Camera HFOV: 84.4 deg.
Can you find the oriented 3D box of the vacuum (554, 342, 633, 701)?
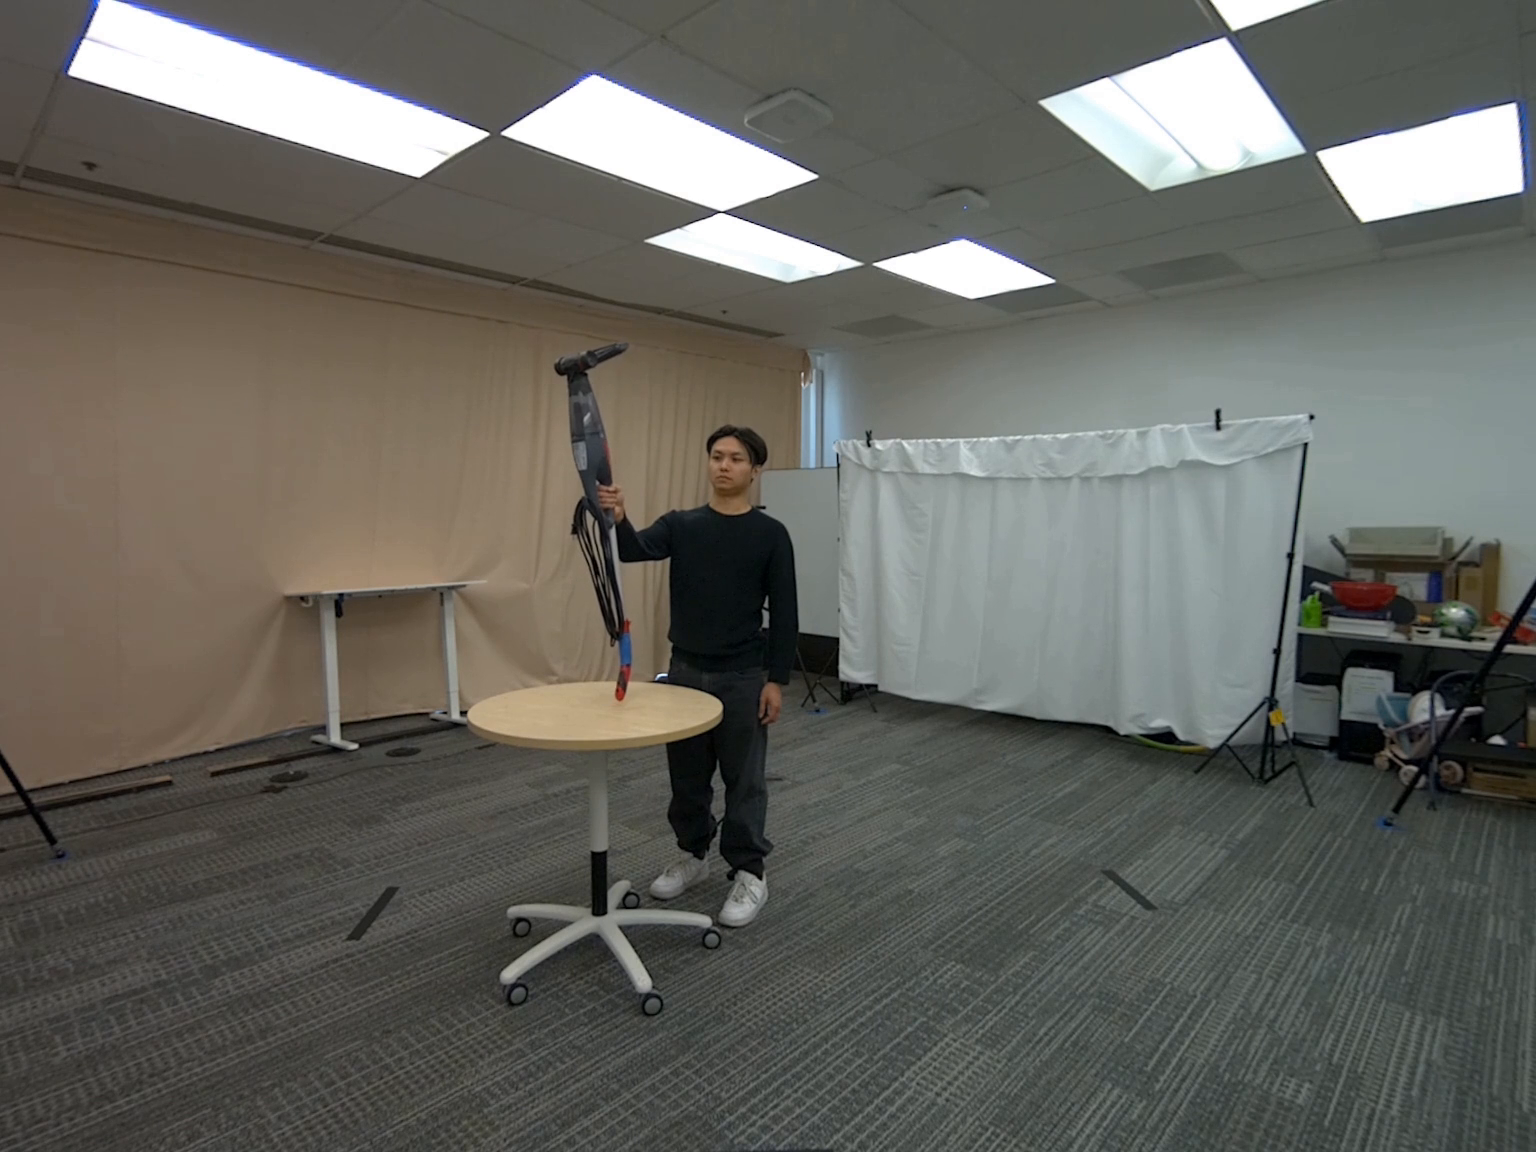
[{"bbox_3d":[-0.507,-0.149,2.535,0.260,1.049,0.140,-5,0,36],"label":"vacuum"}]
